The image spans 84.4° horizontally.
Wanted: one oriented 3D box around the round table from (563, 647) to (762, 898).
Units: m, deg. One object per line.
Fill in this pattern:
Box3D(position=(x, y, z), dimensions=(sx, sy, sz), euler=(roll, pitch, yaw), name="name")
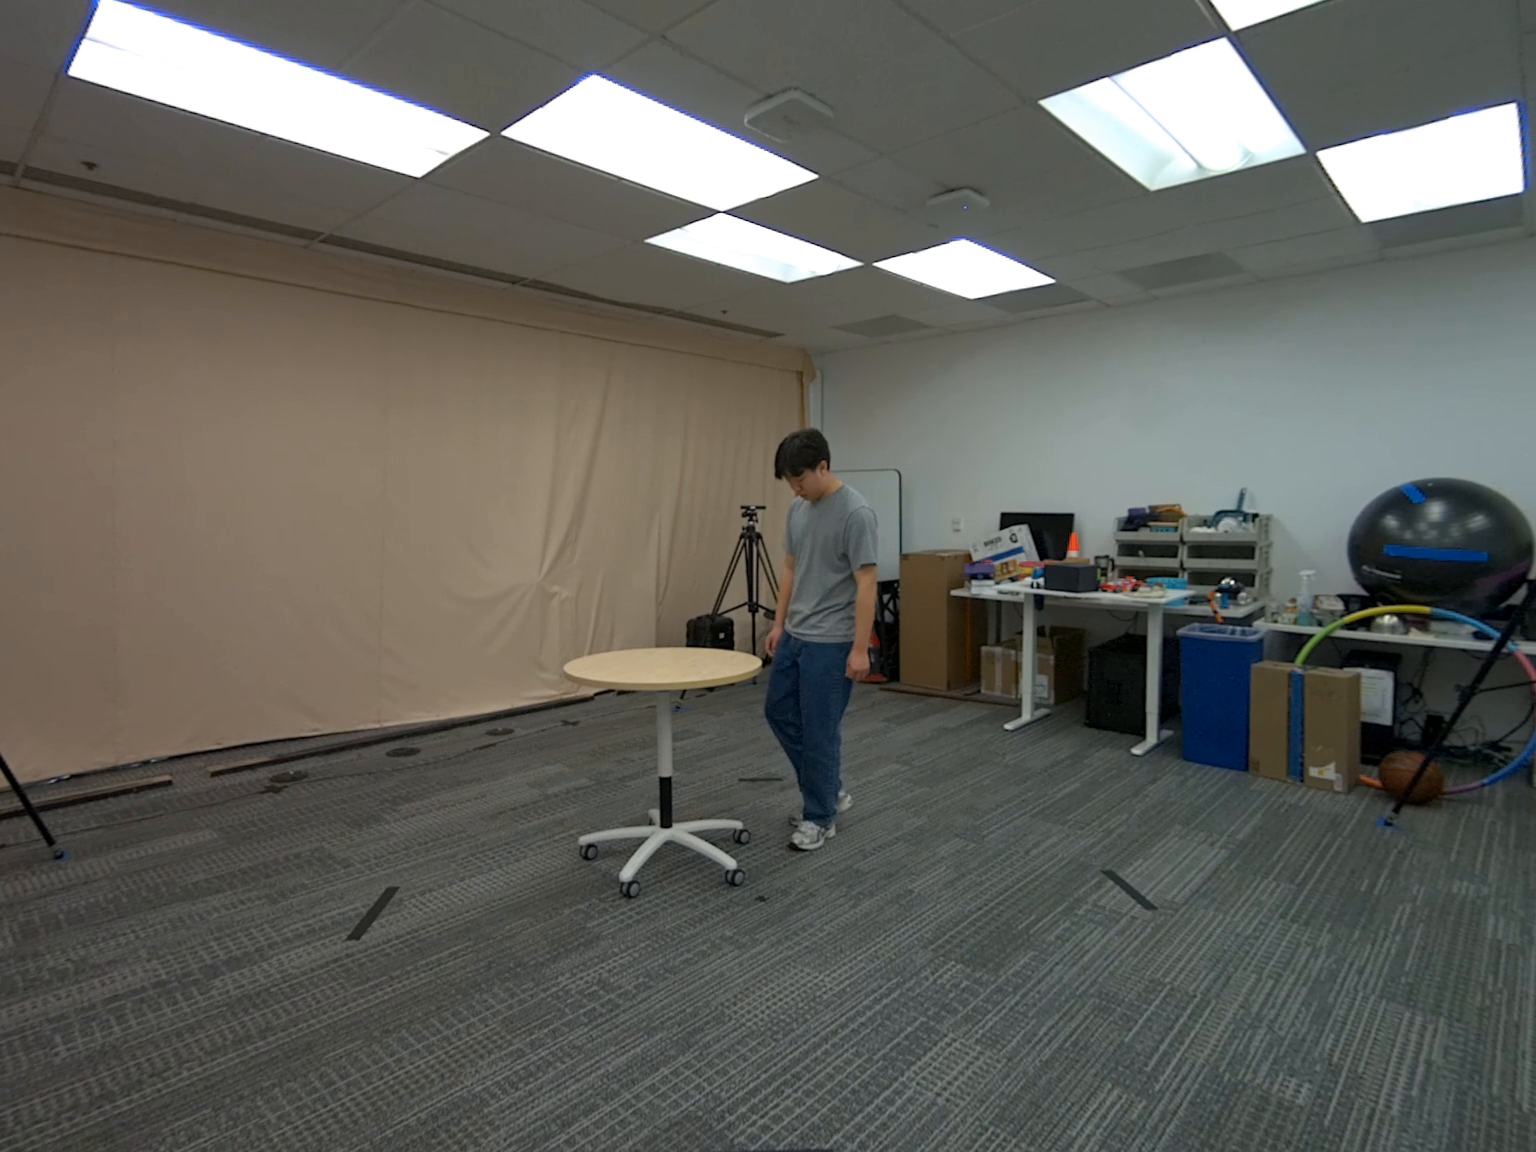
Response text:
Box3D(position=(-0.394, 0.733, 3.285), dimensions=(0.763, 0.792, 0.766), euler=(-1, 4, -2), name="round table")
